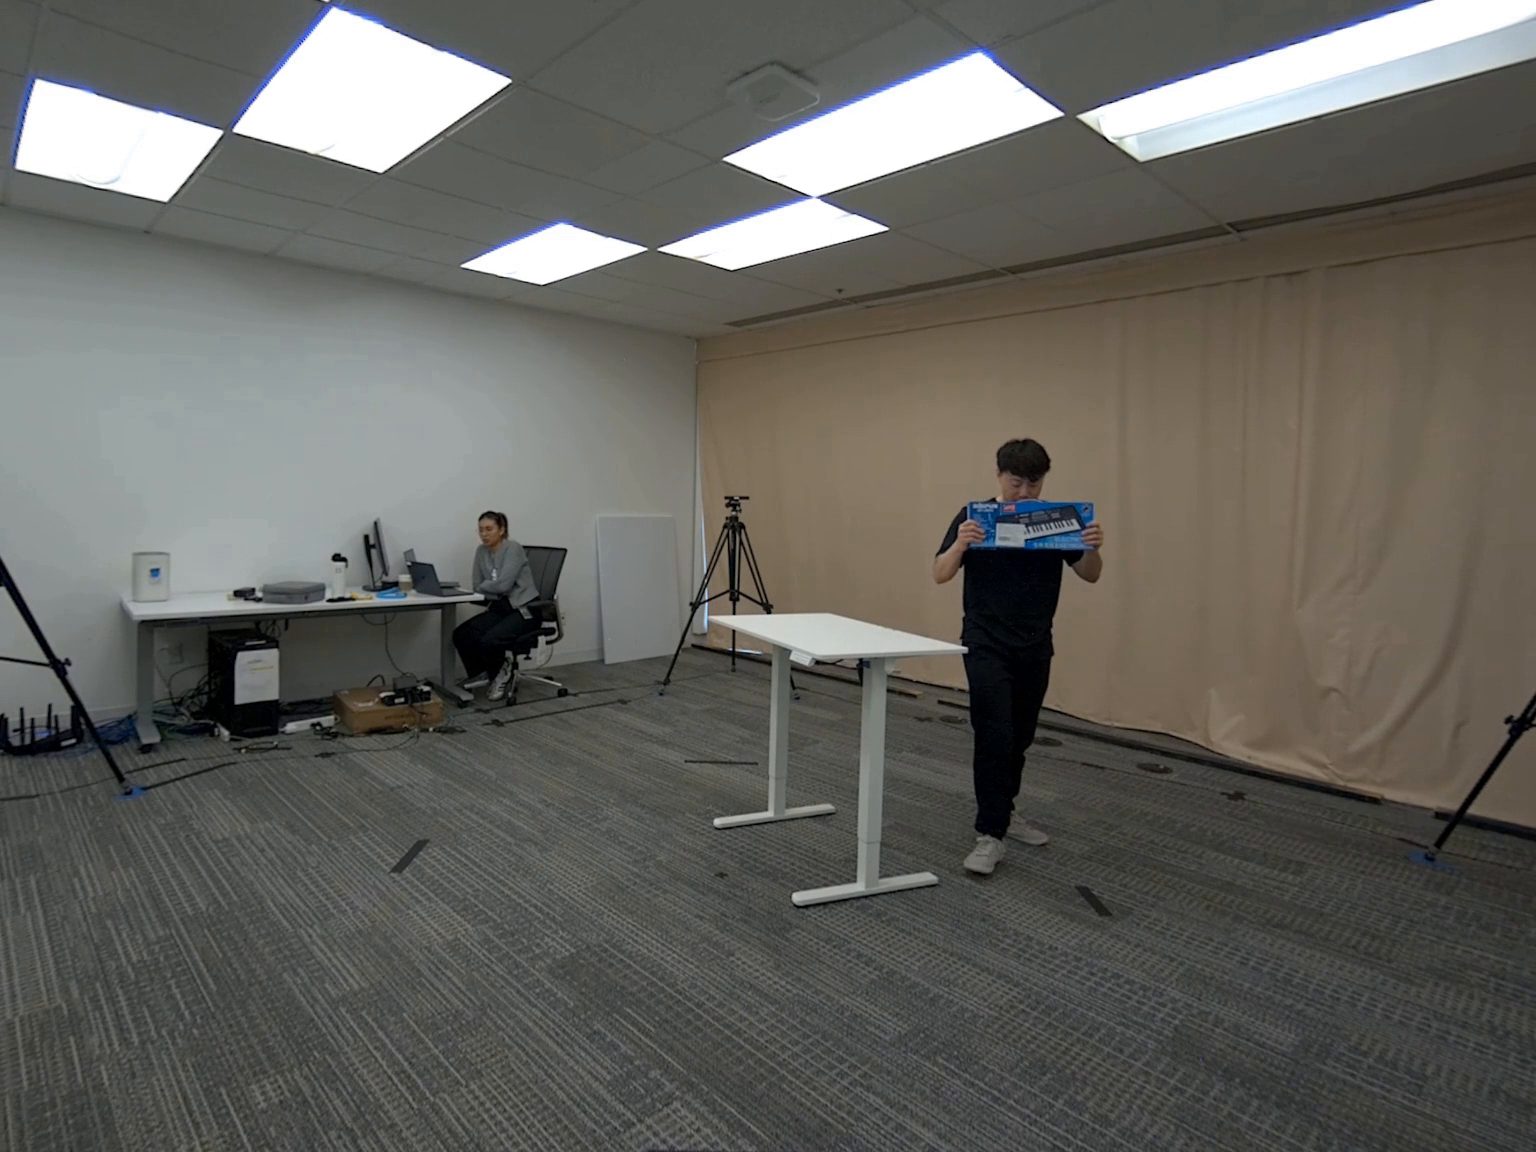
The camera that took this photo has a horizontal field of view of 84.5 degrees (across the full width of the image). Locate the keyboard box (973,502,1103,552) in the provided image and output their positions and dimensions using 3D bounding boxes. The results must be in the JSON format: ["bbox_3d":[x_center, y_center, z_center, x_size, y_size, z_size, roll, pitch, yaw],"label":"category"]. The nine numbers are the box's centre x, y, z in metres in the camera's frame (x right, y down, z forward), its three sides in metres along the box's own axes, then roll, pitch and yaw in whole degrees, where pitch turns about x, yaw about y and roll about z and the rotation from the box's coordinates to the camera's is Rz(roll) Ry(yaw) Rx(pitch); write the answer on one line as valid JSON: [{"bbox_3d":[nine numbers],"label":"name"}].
[{"bbox_3d":[0.982,-0.181,3.095,0.440,0.176,0.059,1,2,8],"label":"keyboard box"}]
